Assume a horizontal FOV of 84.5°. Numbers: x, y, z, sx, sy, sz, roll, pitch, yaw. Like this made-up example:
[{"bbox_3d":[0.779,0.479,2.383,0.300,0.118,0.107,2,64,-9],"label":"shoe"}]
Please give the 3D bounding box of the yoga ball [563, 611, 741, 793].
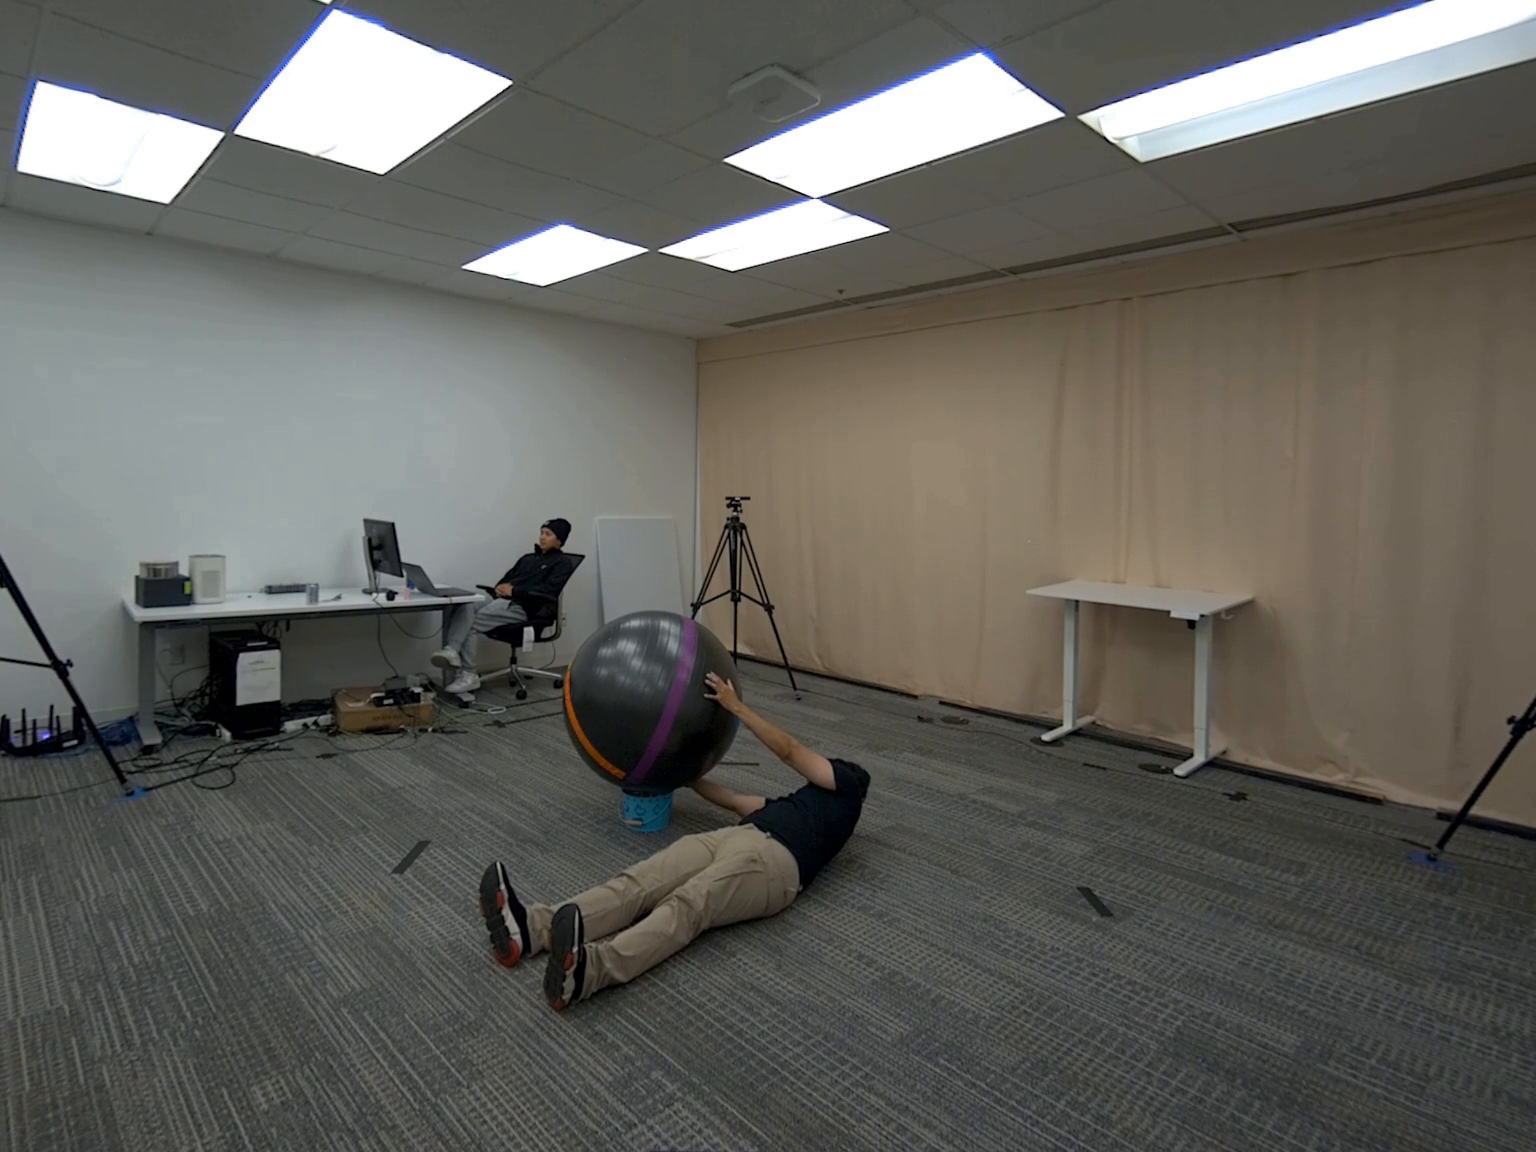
[{"bbox_3d":[-0.493,0.526,3.578,0.757,0.755,0.761,1,5,-1],"label":"yoga ball"}]
